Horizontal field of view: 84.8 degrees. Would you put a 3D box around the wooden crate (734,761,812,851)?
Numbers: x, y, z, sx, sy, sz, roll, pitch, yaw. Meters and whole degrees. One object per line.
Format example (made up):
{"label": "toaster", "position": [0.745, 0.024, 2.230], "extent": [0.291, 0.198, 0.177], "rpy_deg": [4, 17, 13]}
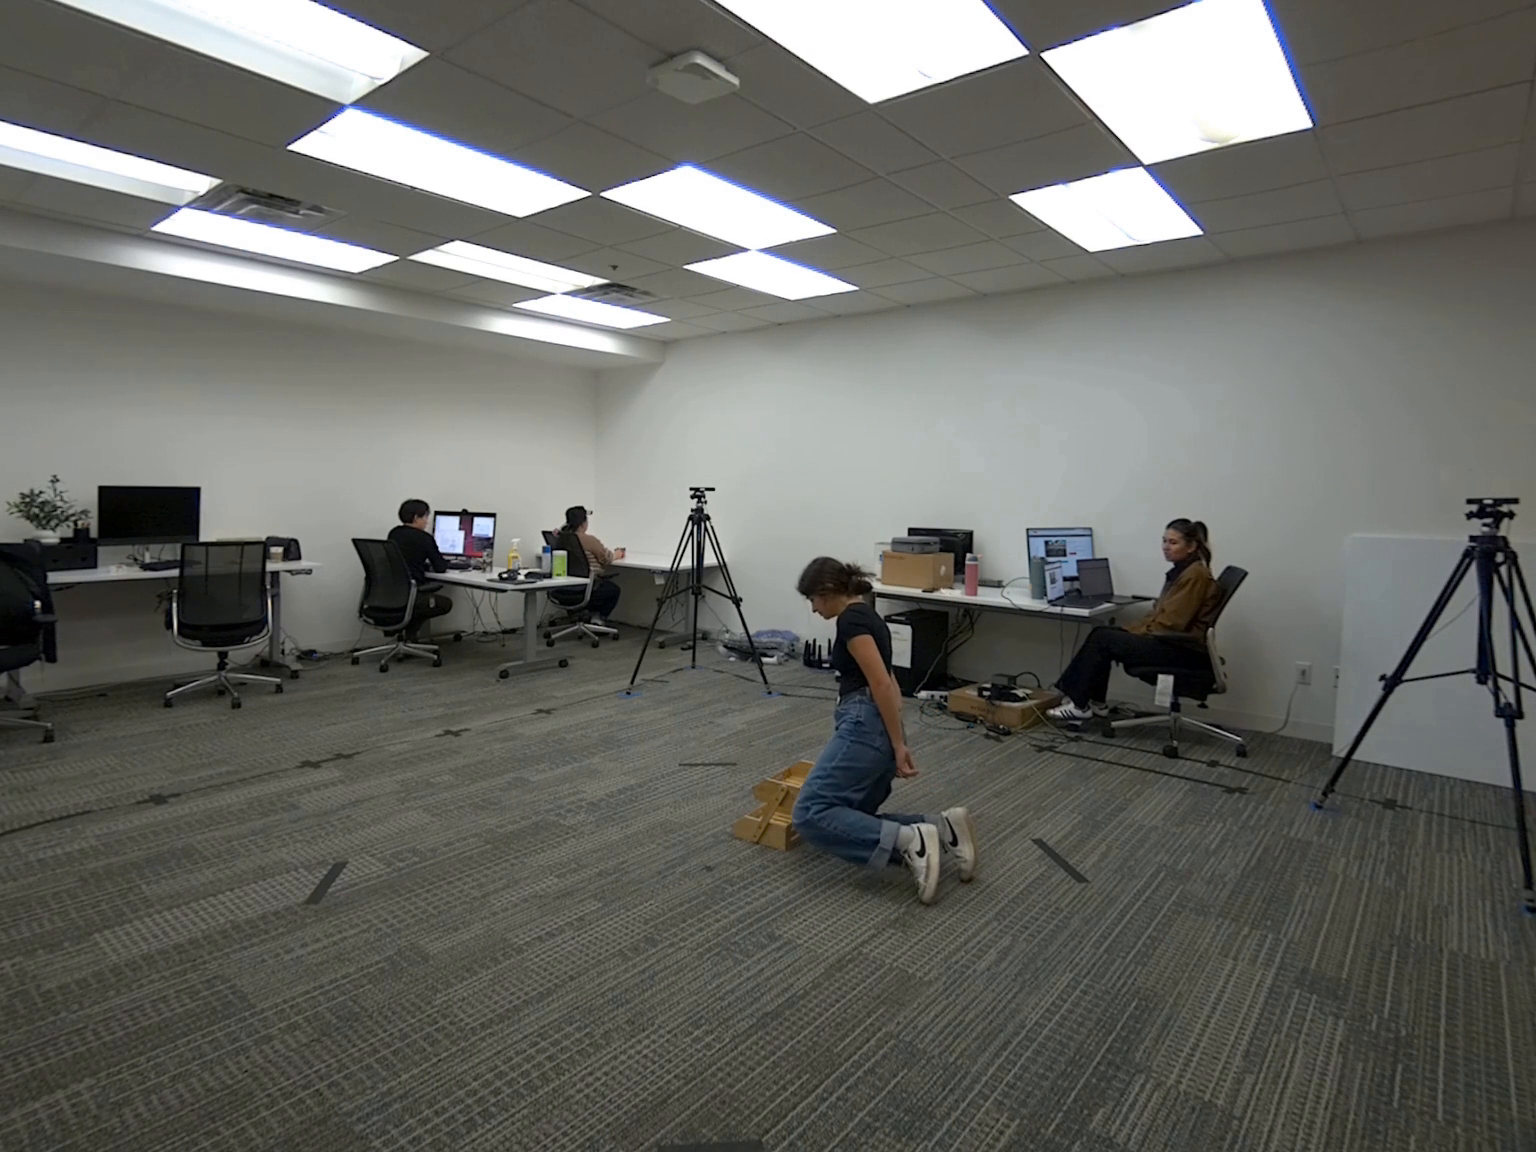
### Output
{"label": "wooden crate", "position": [0.048, 0.907, 3.451], "extent": [0.311, 0.272, 0.316], "rpy_deg": [4, 5, 31]}
